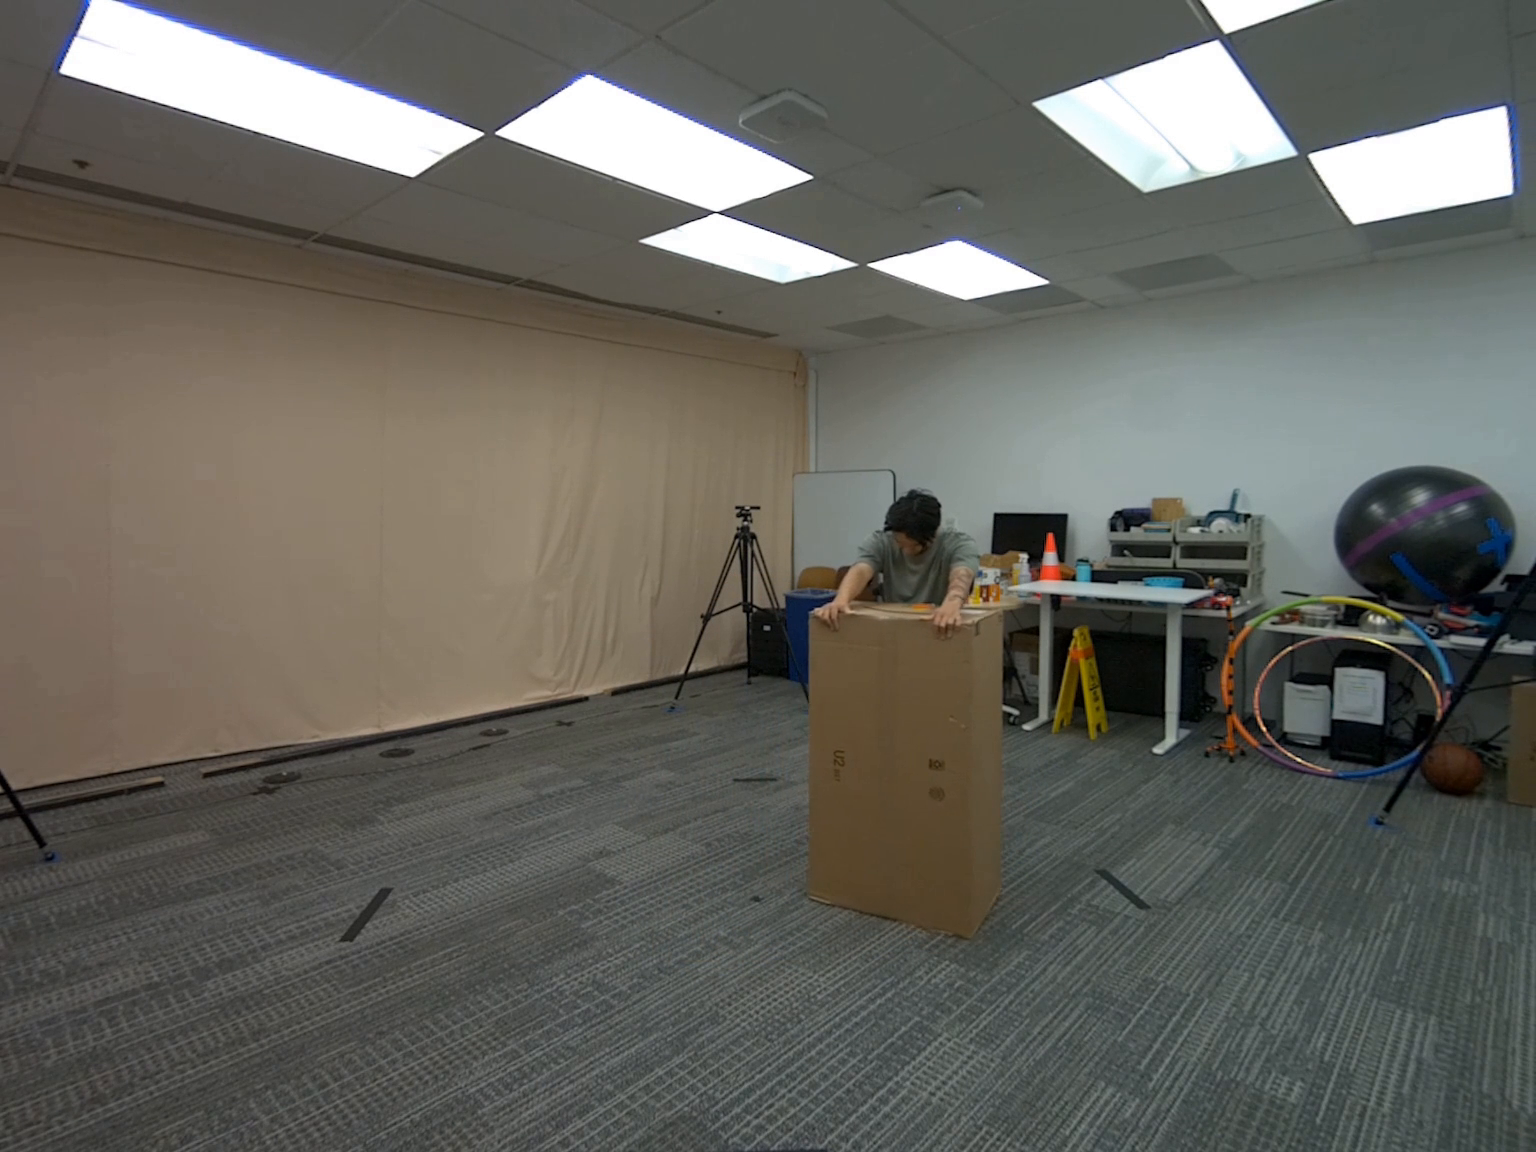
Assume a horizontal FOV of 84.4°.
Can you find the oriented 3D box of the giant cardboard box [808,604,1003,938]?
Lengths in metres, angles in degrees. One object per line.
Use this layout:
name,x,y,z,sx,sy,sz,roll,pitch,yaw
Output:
giant cardboard box,0.494,0.634,2.997,0.594,1.024,0.415,2,3,30
